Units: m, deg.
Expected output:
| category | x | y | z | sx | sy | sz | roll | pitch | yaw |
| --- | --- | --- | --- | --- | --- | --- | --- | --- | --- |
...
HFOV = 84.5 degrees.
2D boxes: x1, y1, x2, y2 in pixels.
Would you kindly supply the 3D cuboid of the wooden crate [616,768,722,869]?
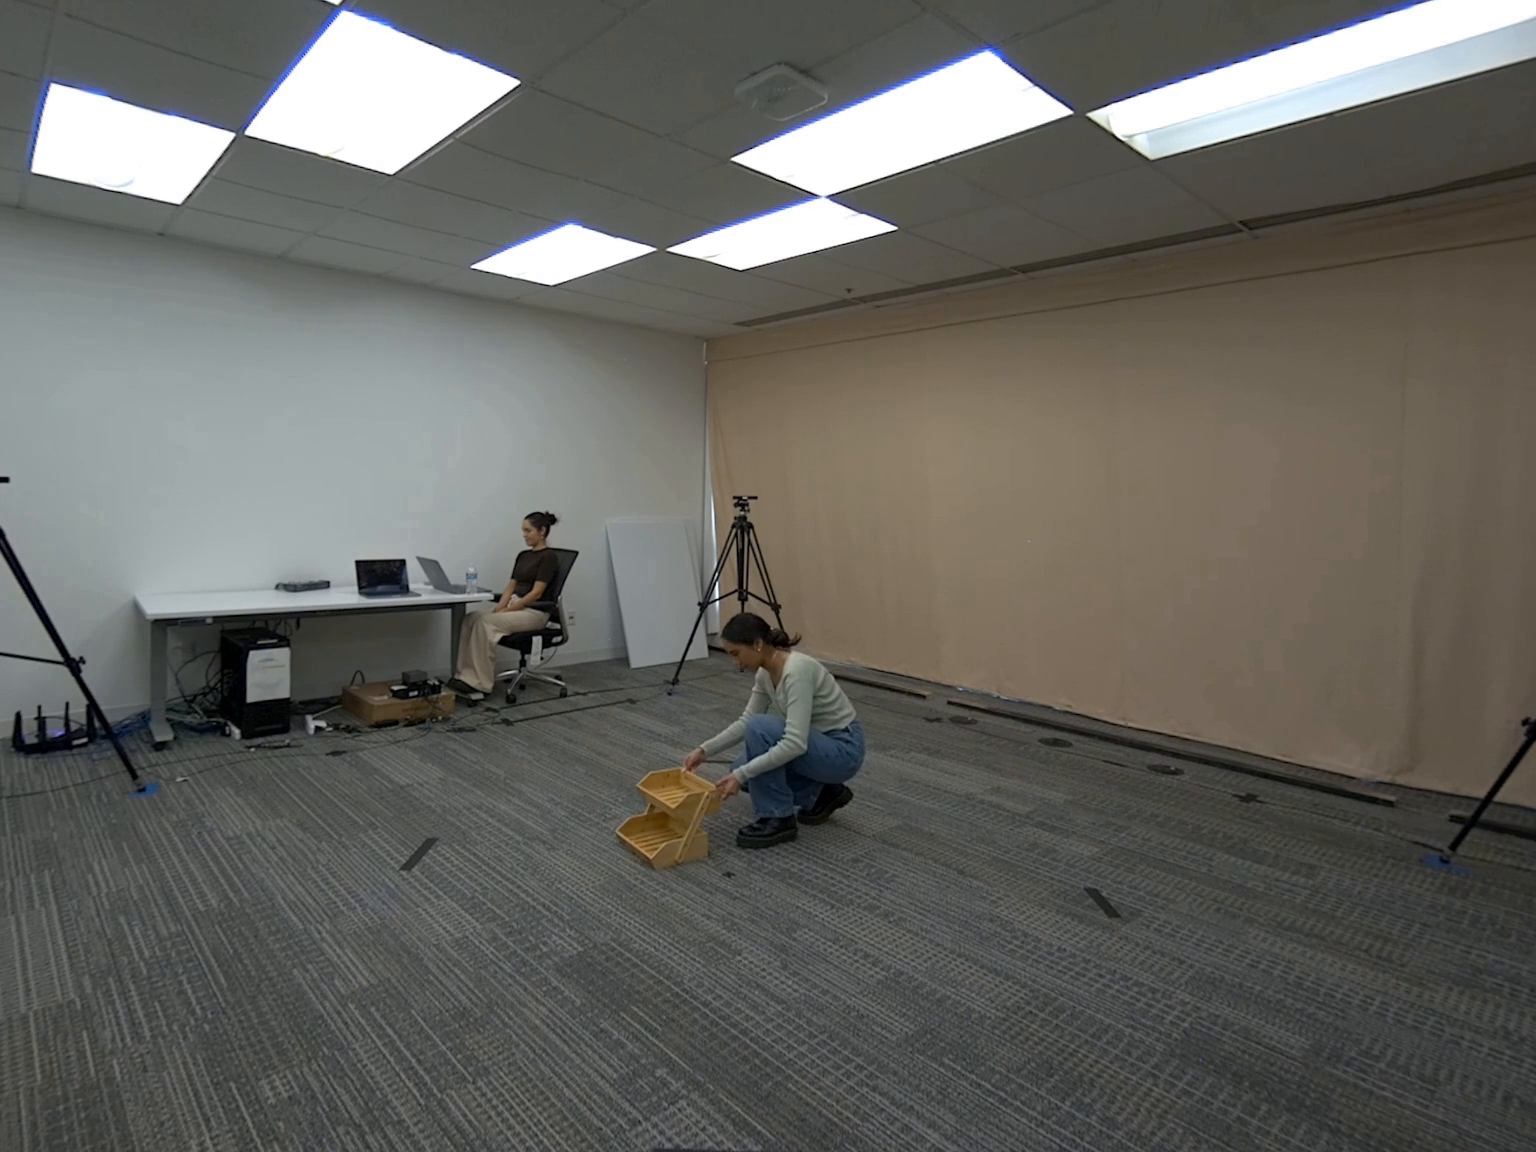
| category | x | y | z | sx | sy | sz | roll | pitch | yaw |
| --- | --- | --- | --- | --- | --- | --- | --- | --- | --- |
| wooden crate | -0.409 | 0.943 | 3.320 | 0.295 | 0.273 | 0.332 | -1 | 4 | -36 |
